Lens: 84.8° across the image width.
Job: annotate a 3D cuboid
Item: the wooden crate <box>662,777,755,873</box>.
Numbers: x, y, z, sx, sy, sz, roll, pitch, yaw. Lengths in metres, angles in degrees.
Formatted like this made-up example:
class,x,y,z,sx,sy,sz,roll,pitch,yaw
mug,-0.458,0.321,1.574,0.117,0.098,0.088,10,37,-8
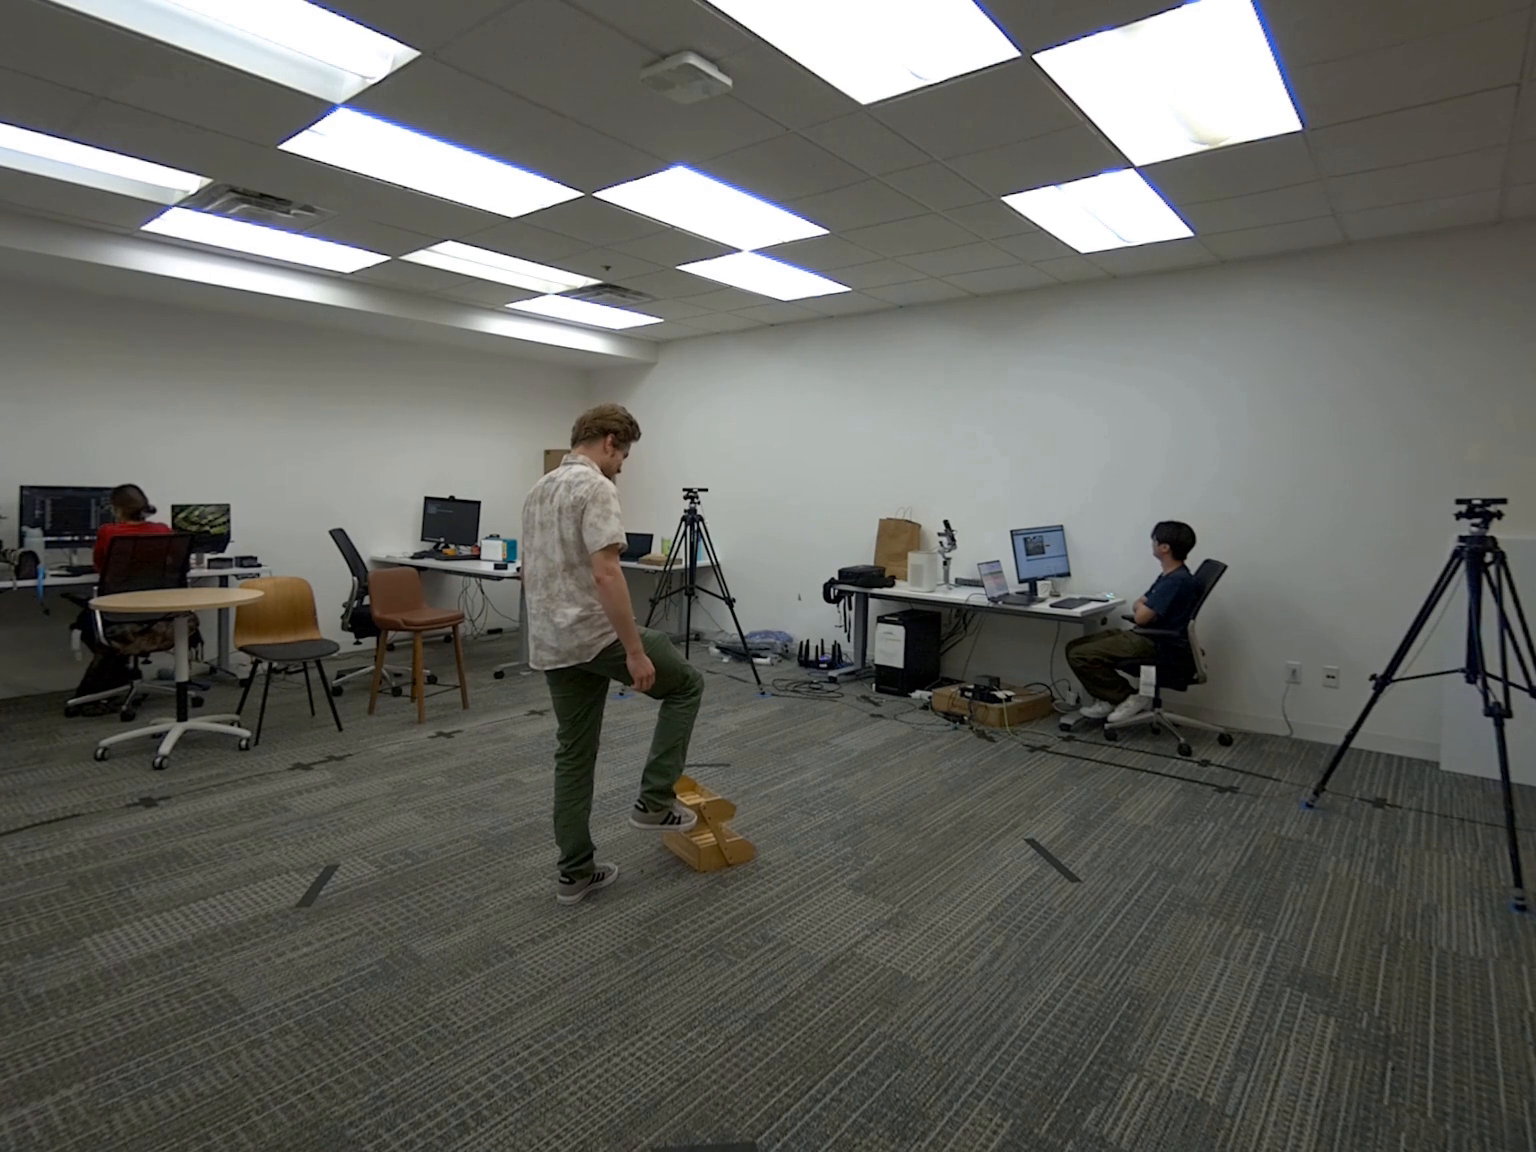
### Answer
class,x,y,z,sx,sy,sz,roll,pitch,yaw
wooden crate,-0.255,0.922,3.256,0.294,0.272,0.335,-3,6,-33
